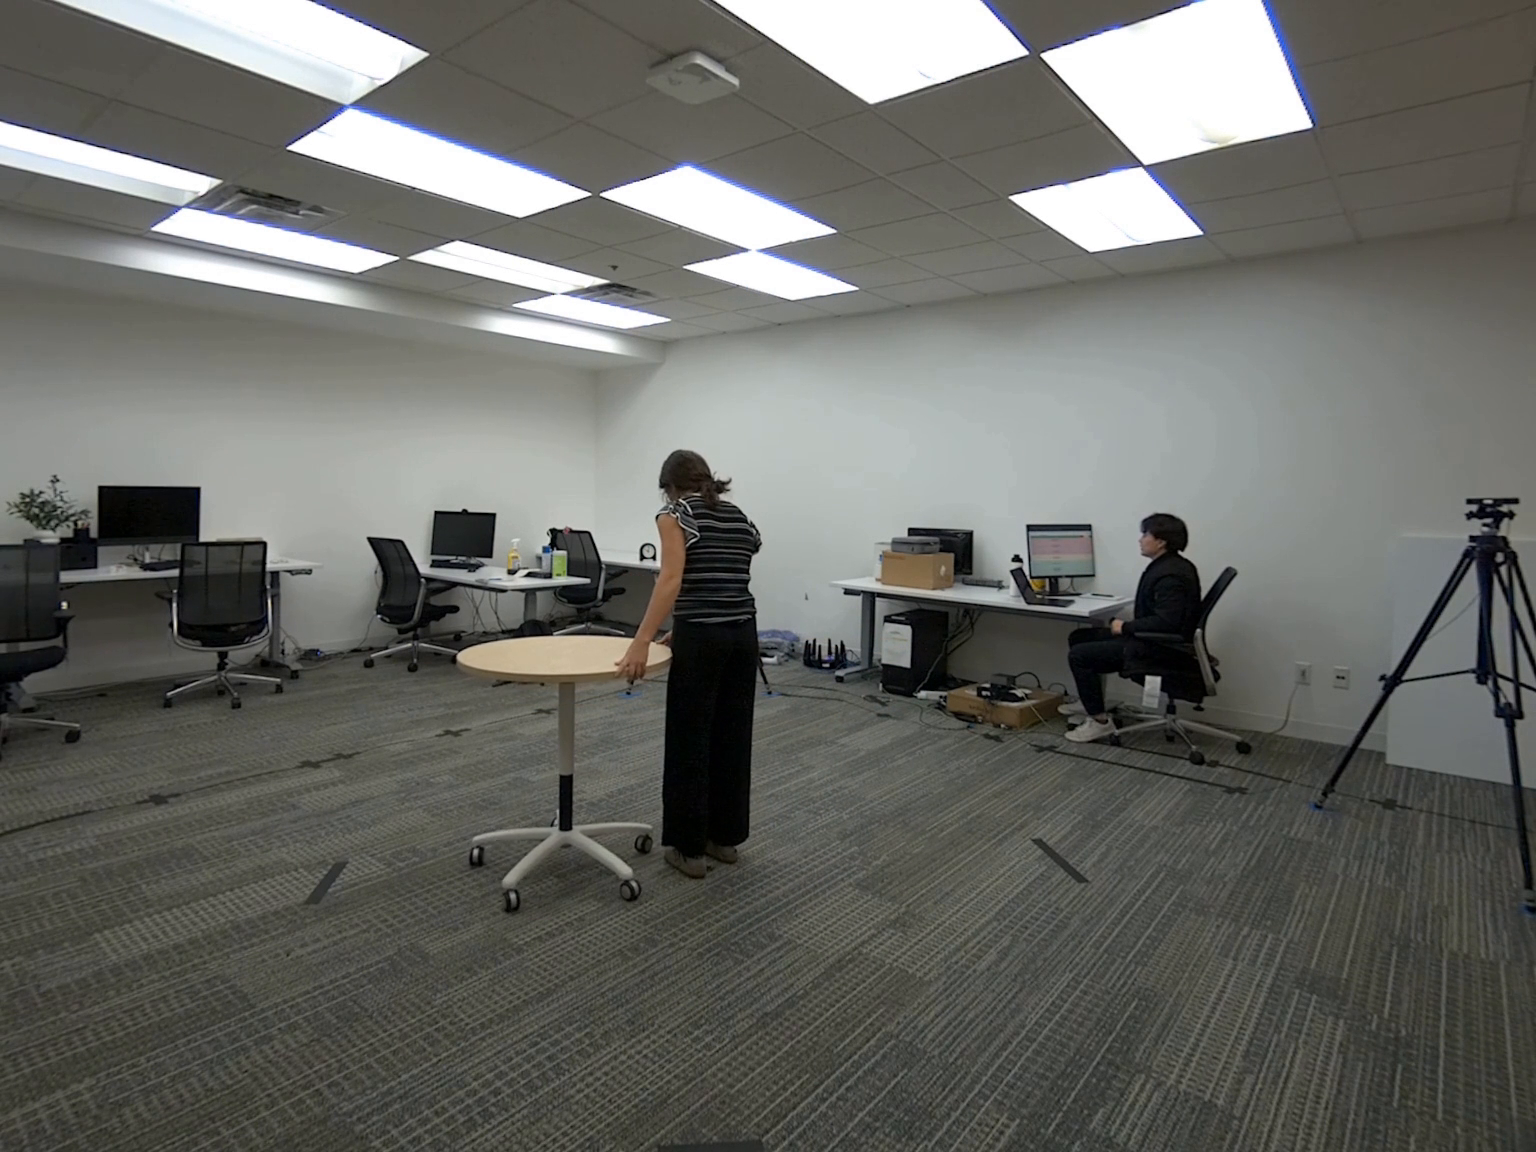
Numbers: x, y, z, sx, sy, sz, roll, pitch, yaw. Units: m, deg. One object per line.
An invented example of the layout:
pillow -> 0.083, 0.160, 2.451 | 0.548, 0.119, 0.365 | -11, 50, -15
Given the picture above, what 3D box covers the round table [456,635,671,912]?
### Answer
round table -> -0.732, 0.666, 3.088 | 0.784, 0.784, 0.789 | 1, 4, -2
